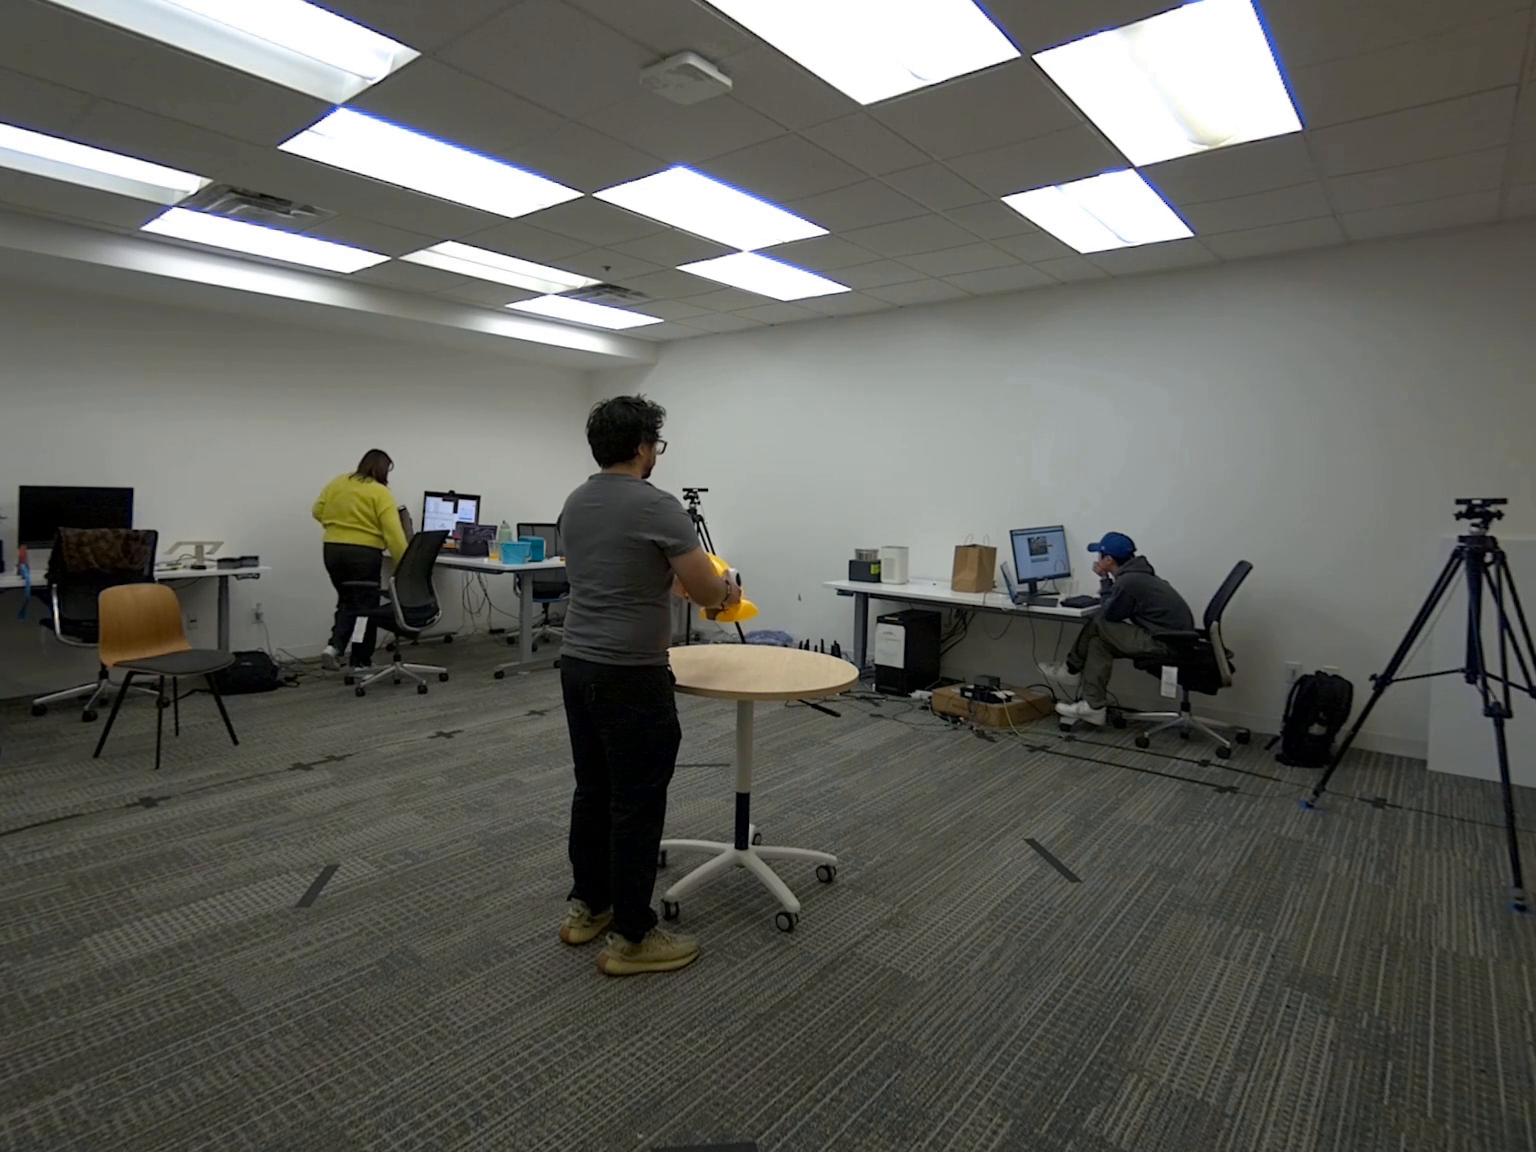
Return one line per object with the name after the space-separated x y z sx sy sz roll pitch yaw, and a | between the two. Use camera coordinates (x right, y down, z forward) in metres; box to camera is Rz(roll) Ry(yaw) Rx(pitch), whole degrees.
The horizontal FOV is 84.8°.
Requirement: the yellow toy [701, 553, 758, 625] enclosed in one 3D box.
-0.163 0.020 2.883 0.188 0.229 0.212 -13 12 -40 | yellow toy
